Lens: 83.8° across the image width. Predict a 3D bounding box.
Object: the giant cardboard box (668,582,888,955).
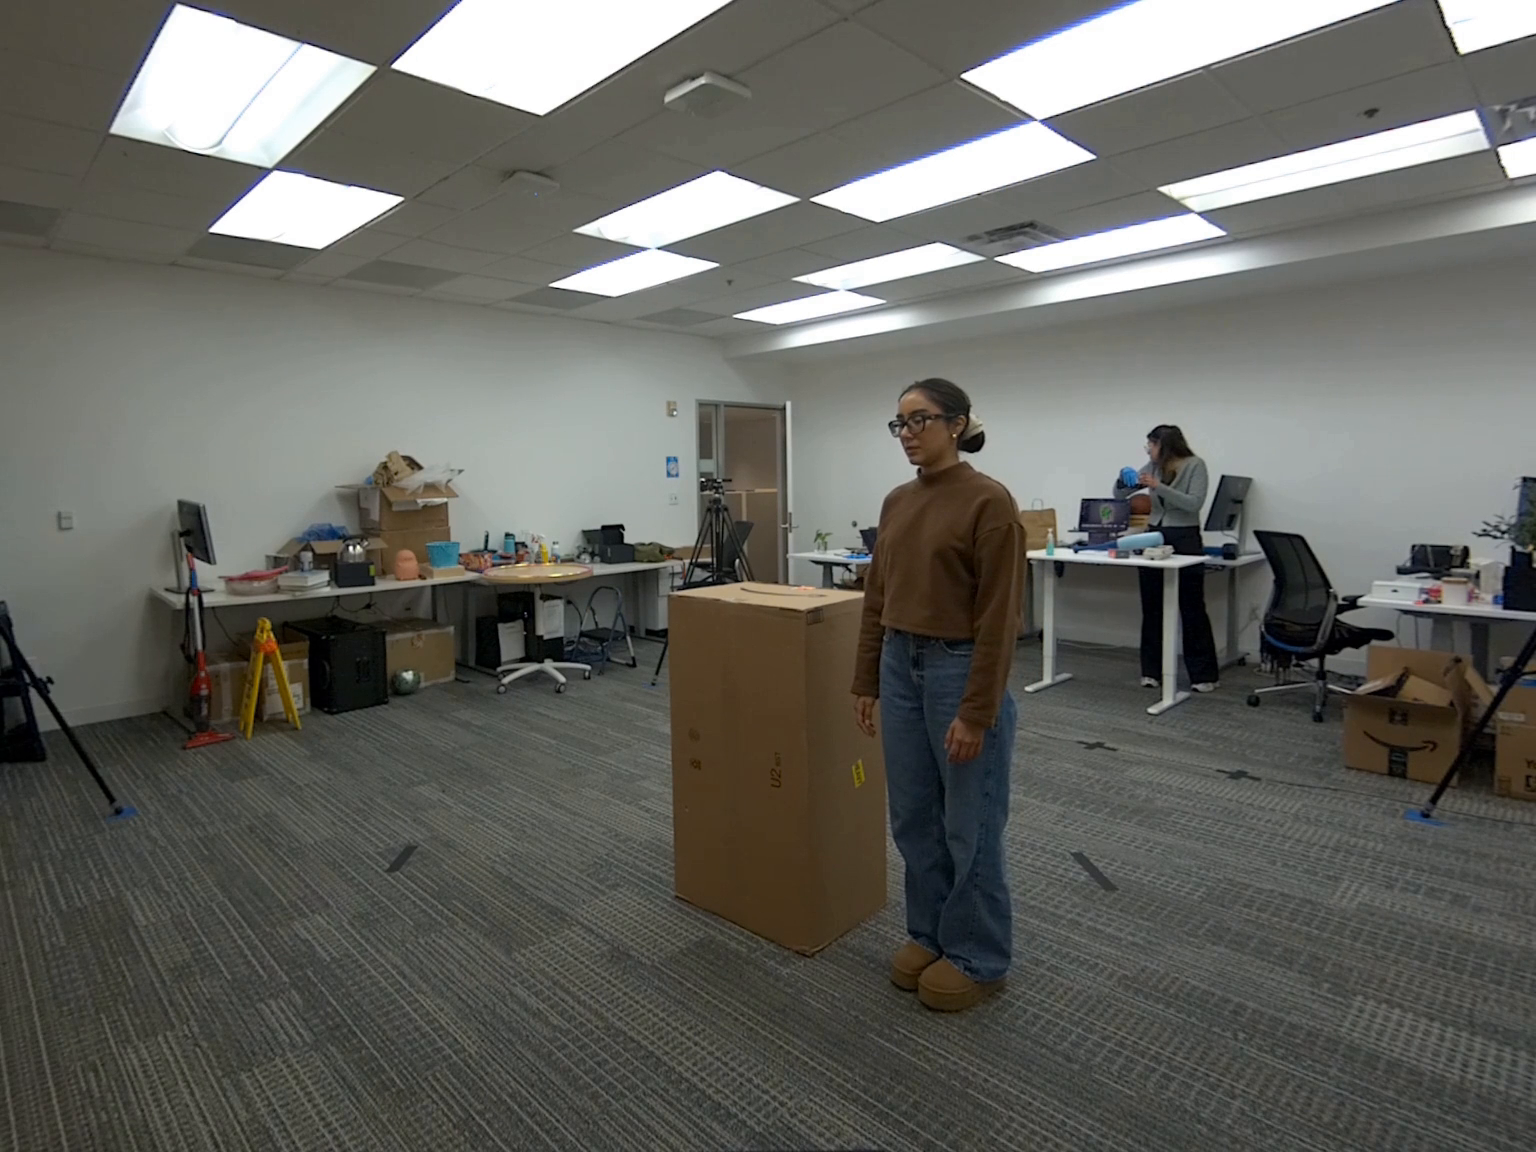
[{"bbox_3d":[0.029,0.567,2.810,0.595,1.022,0.415,3,5,42],"label":"giant cardboard box"}]
